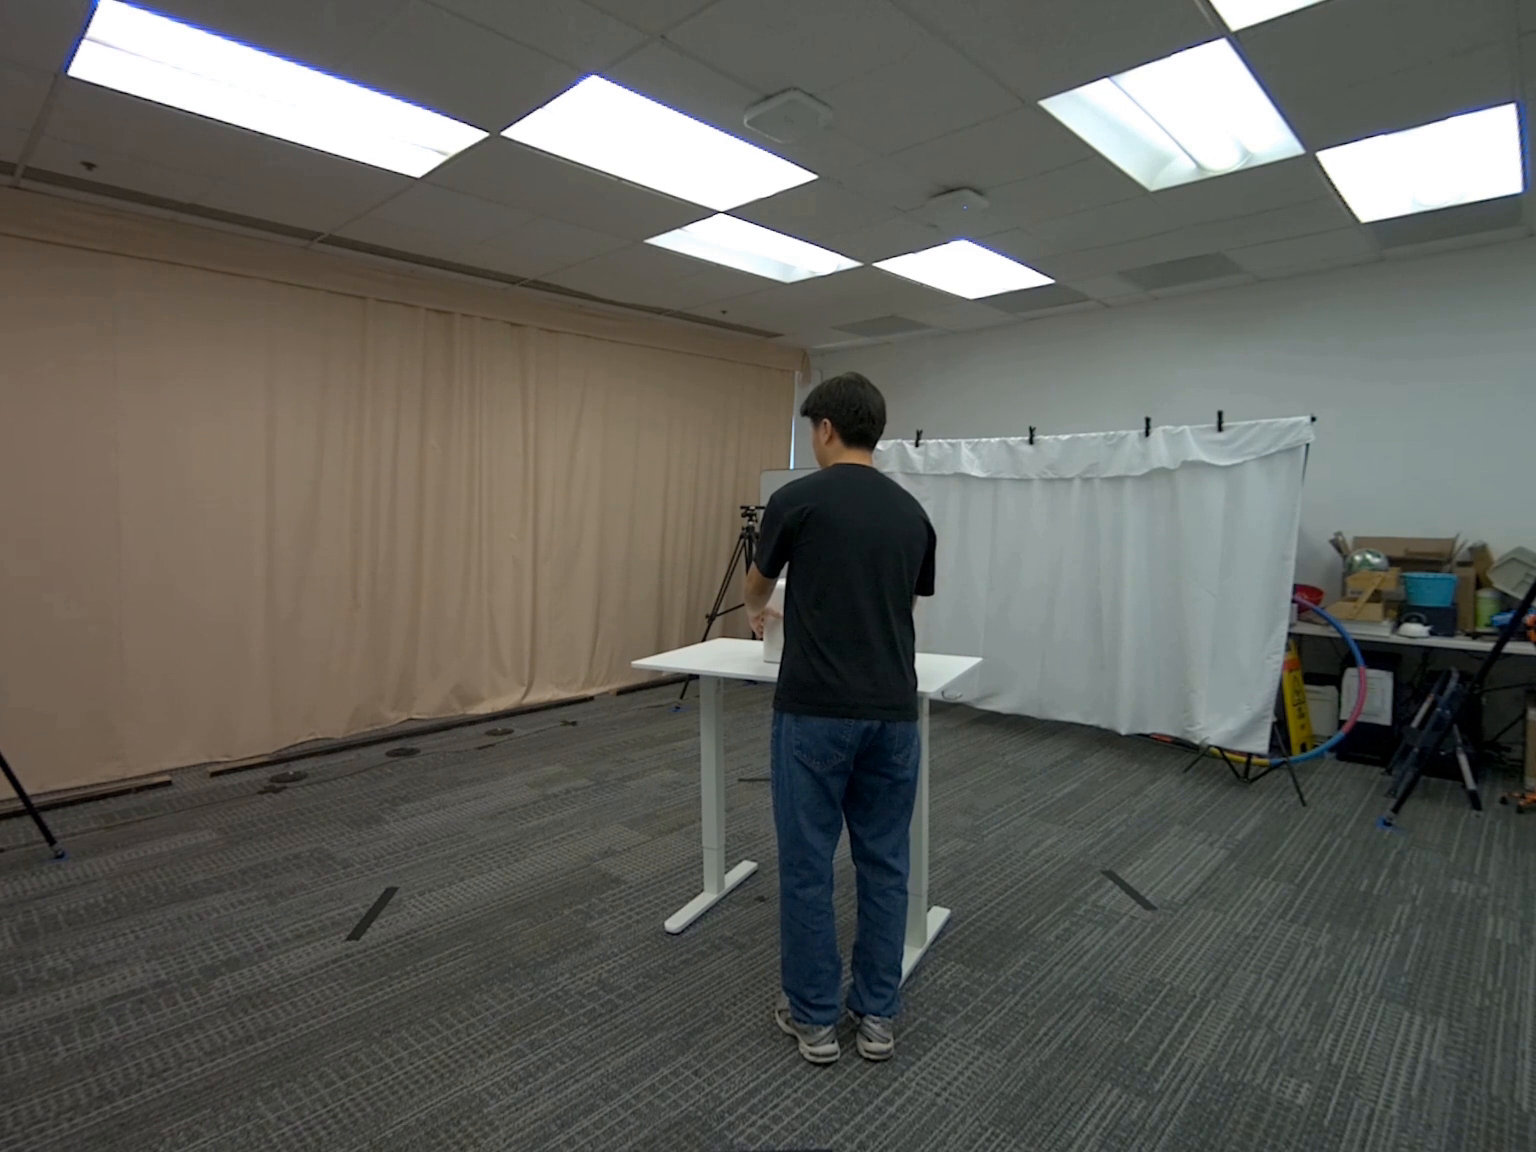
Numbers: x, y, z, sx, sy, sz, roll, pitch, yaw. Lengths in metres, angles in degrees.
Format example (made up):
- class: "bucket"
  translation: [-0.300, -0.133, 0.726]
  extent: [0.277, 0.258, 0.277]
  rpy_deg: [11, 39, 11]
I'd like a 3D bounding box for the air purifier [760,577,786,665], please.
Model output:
- class: "air purifier"
  translation: [0.082, 0.144, 2.768]
  extent: [0.175, 0.265, 0.168]
  rpy_deg: [1, 4, 19]
